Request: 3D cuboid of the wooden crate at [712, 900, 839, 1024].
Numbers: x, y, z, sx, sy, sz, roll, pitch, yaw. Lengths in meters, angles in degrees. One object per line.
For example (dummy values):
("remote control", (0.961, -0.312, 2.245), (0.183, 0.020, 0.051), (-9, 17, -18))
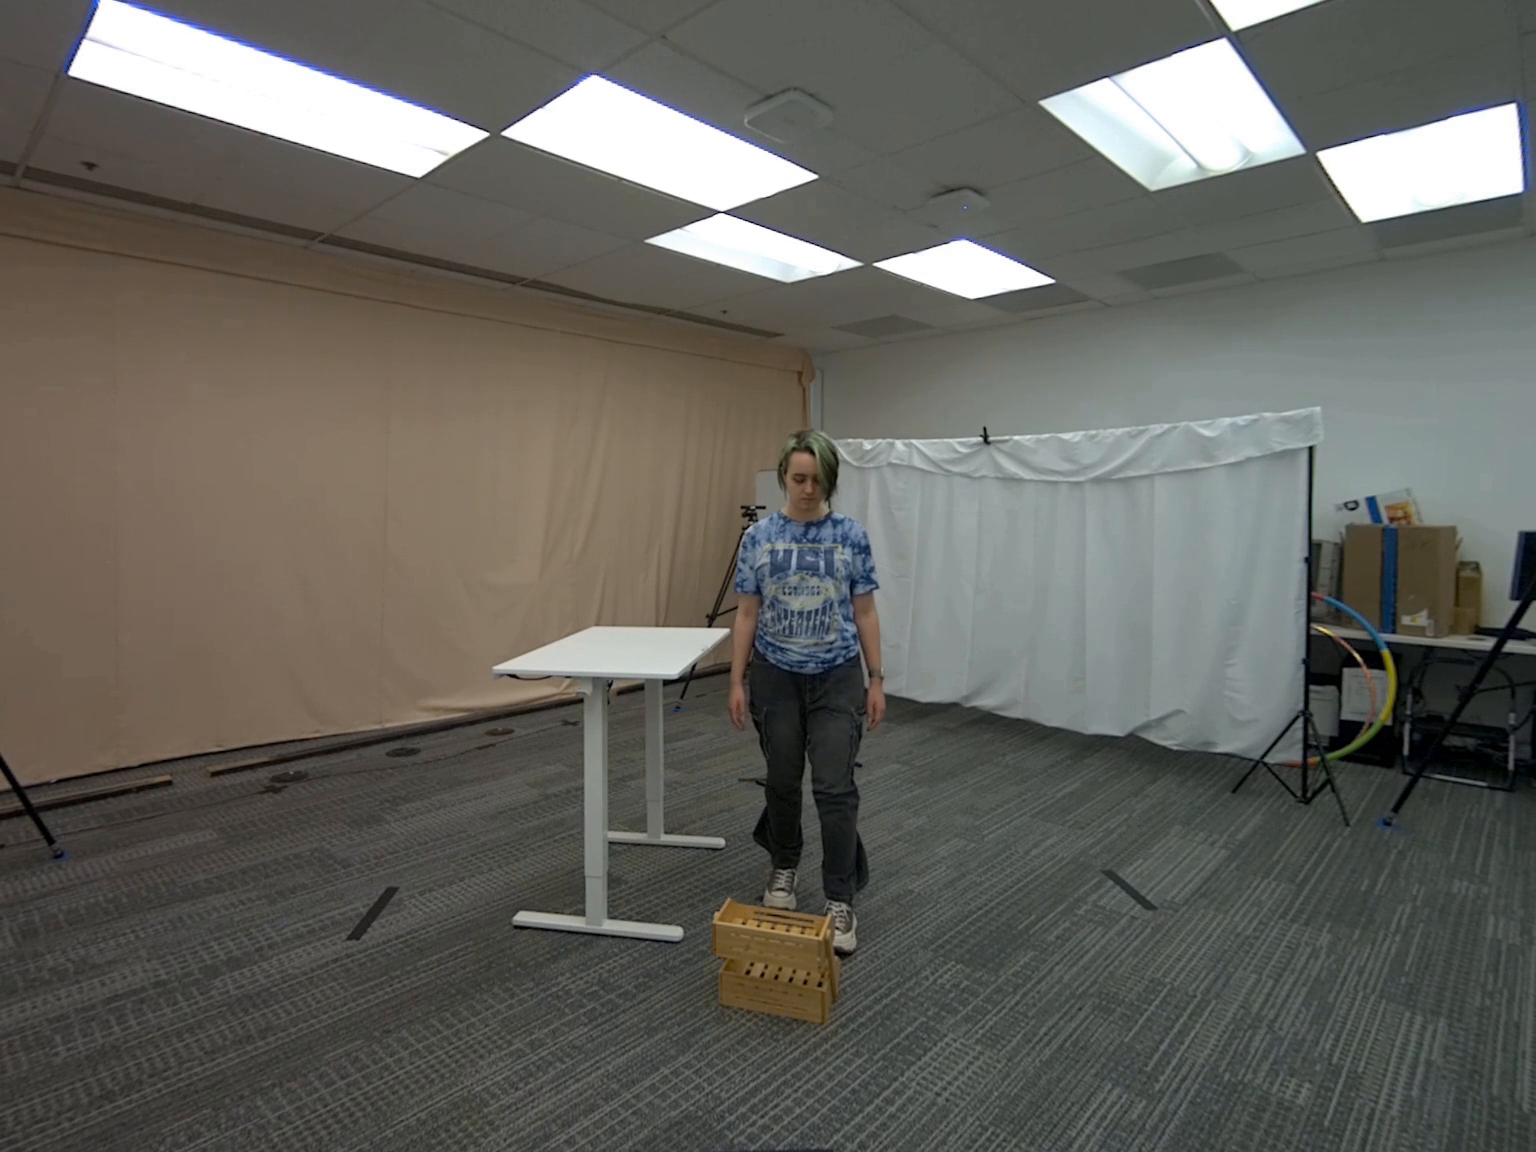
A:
("wooden crate", (0.033, 1.060, 2.390), (0.330, 0.272, 0.297), (2, 5, 16))
